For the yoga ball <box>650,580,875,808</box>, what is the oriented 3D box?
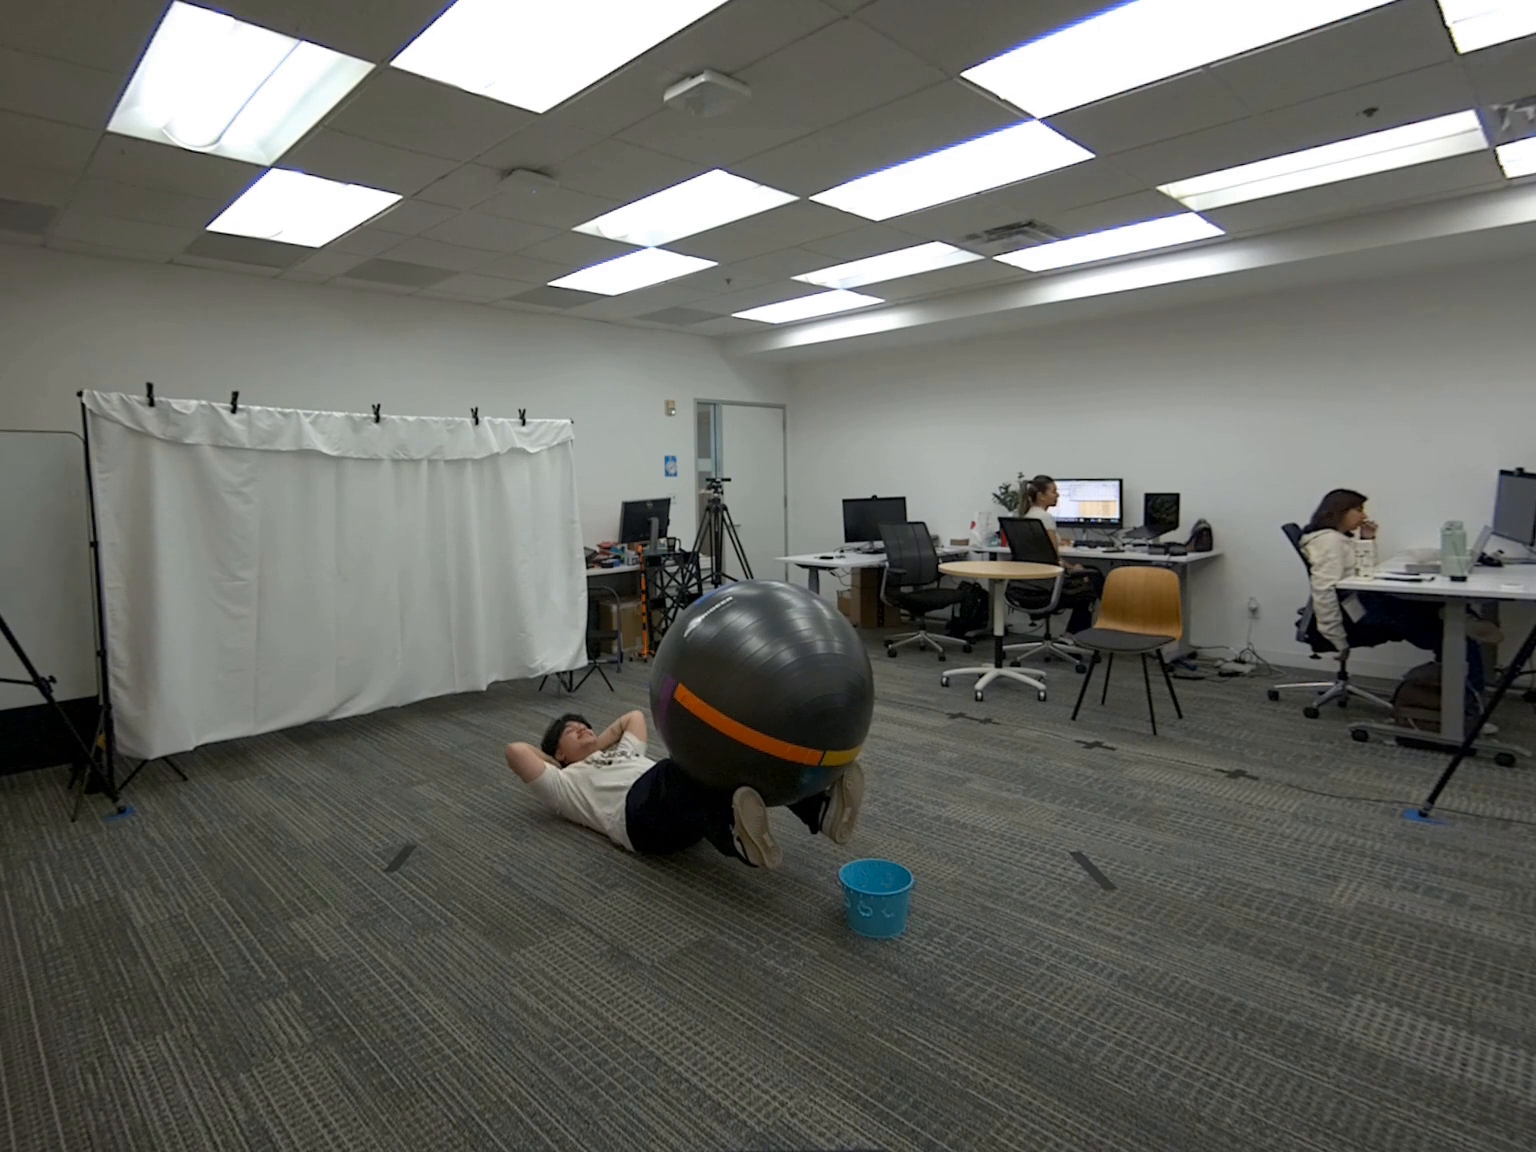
[{"bbox_3d":[-0.023,0.384,2.910,0.757,0.755,0.762,-1,5,-2],"label":"yoga ball"}]
